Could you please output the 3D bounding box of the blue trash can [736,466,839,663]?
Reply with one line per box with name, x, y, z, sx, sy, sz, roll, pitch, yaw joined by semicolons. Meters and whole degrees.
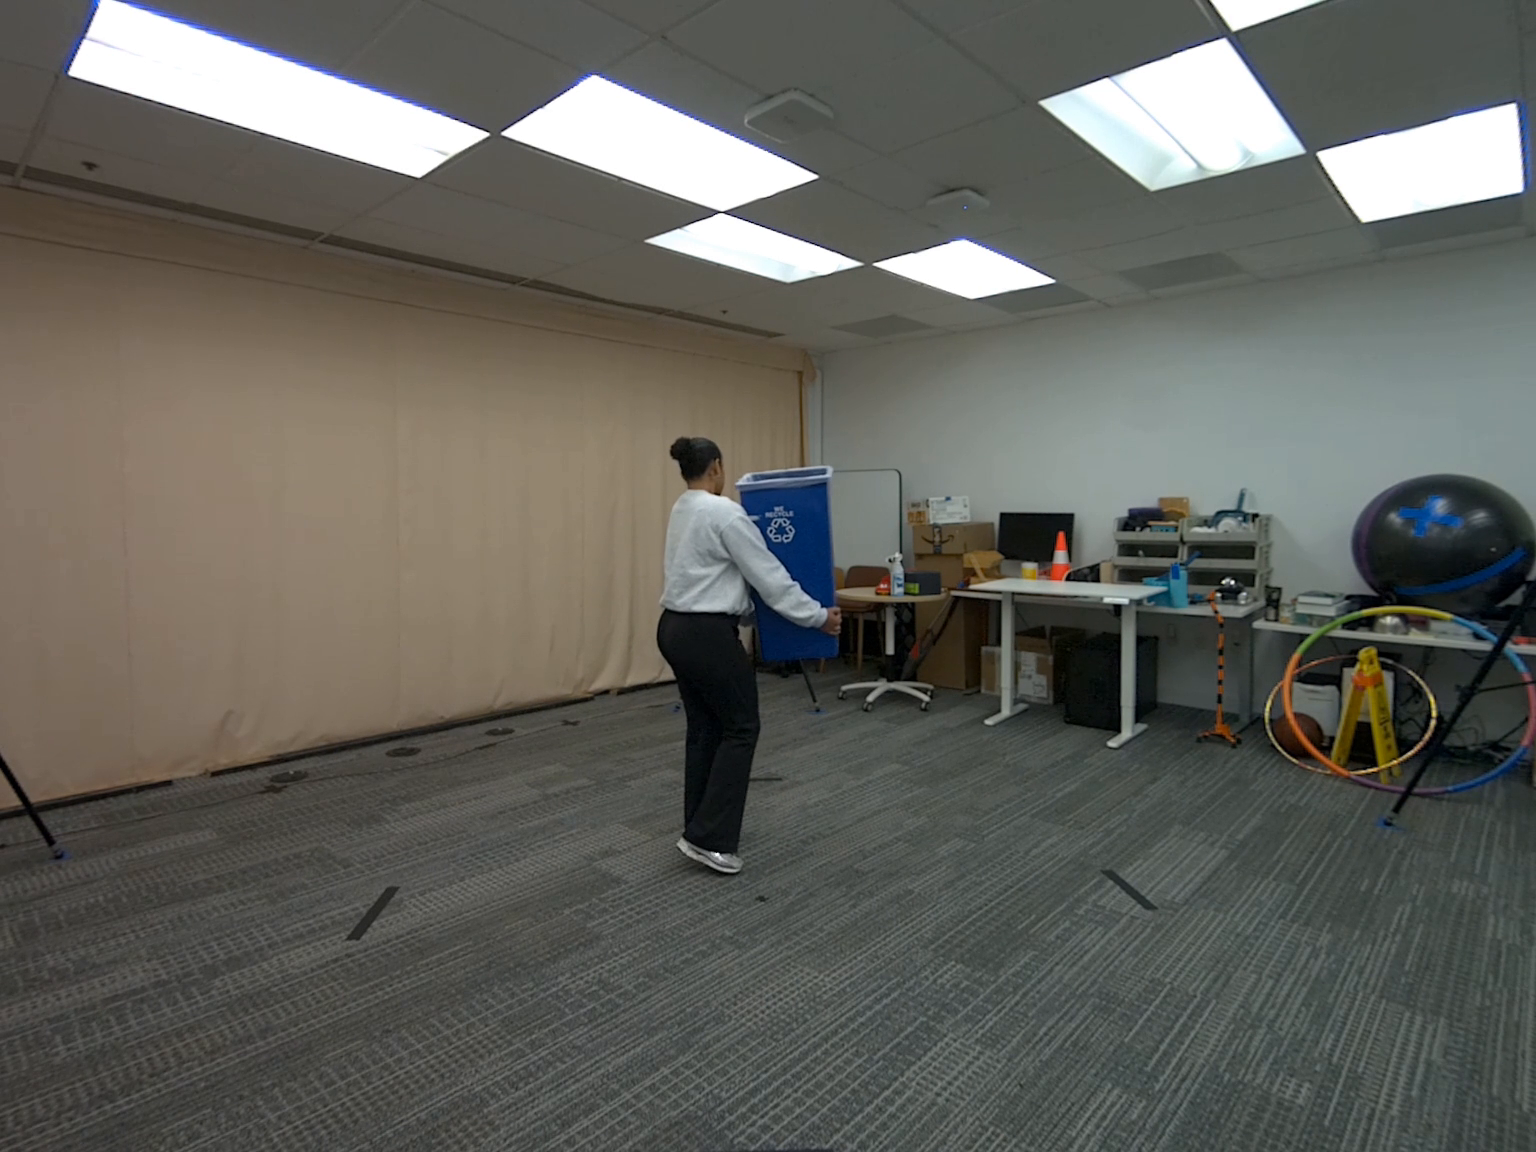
blue trash can;0.106;-0.054;3.382;0.382;0.708;0.373;-5;10;9
